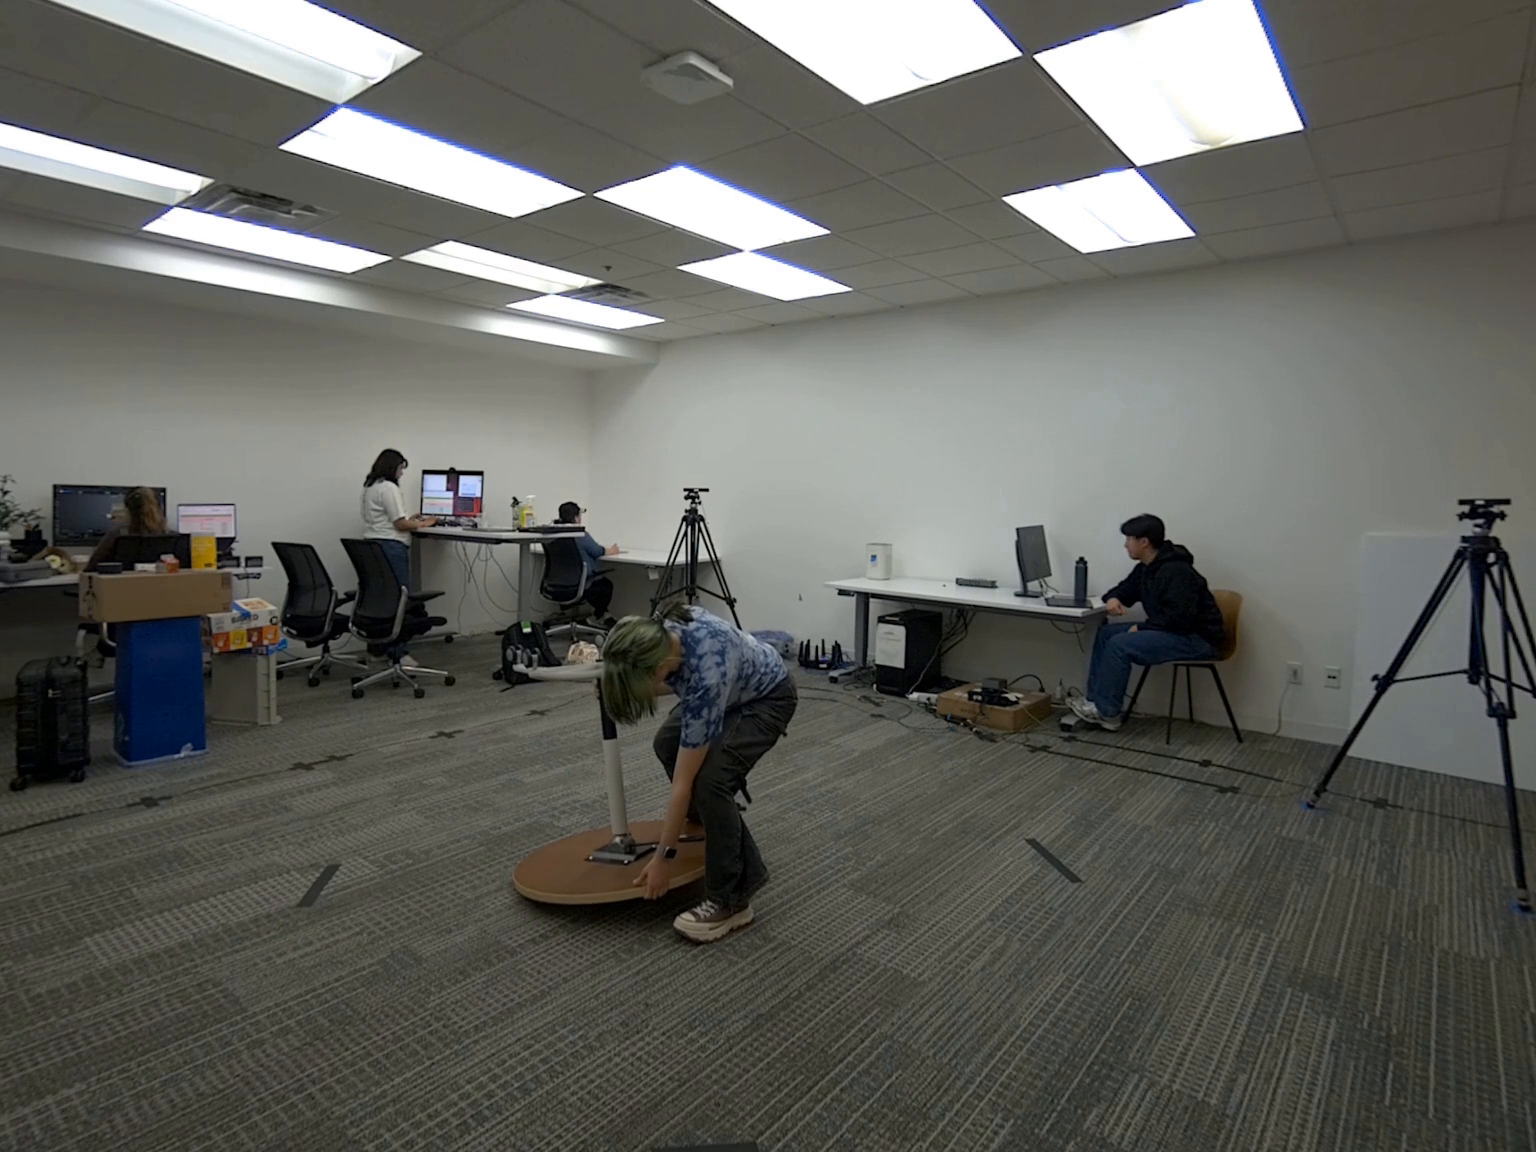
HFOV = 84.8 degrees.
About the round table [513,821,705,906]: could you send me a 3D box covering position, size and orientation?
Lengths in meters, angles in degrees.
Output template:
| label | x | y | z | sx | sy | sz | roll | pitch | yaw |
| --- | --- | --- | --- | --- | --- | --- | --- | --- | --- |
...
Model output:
| label | x | y | z | sx | sy | sz | roll | pitch | yaw |
| --- | --- | --- | --- | --- | --- | --- | --- | --- | --- |
| round table | -0.583 | 0.625 | 3.053 | 0.763 | 0.796 | 0.763 | -7 | -1 | -2 |
